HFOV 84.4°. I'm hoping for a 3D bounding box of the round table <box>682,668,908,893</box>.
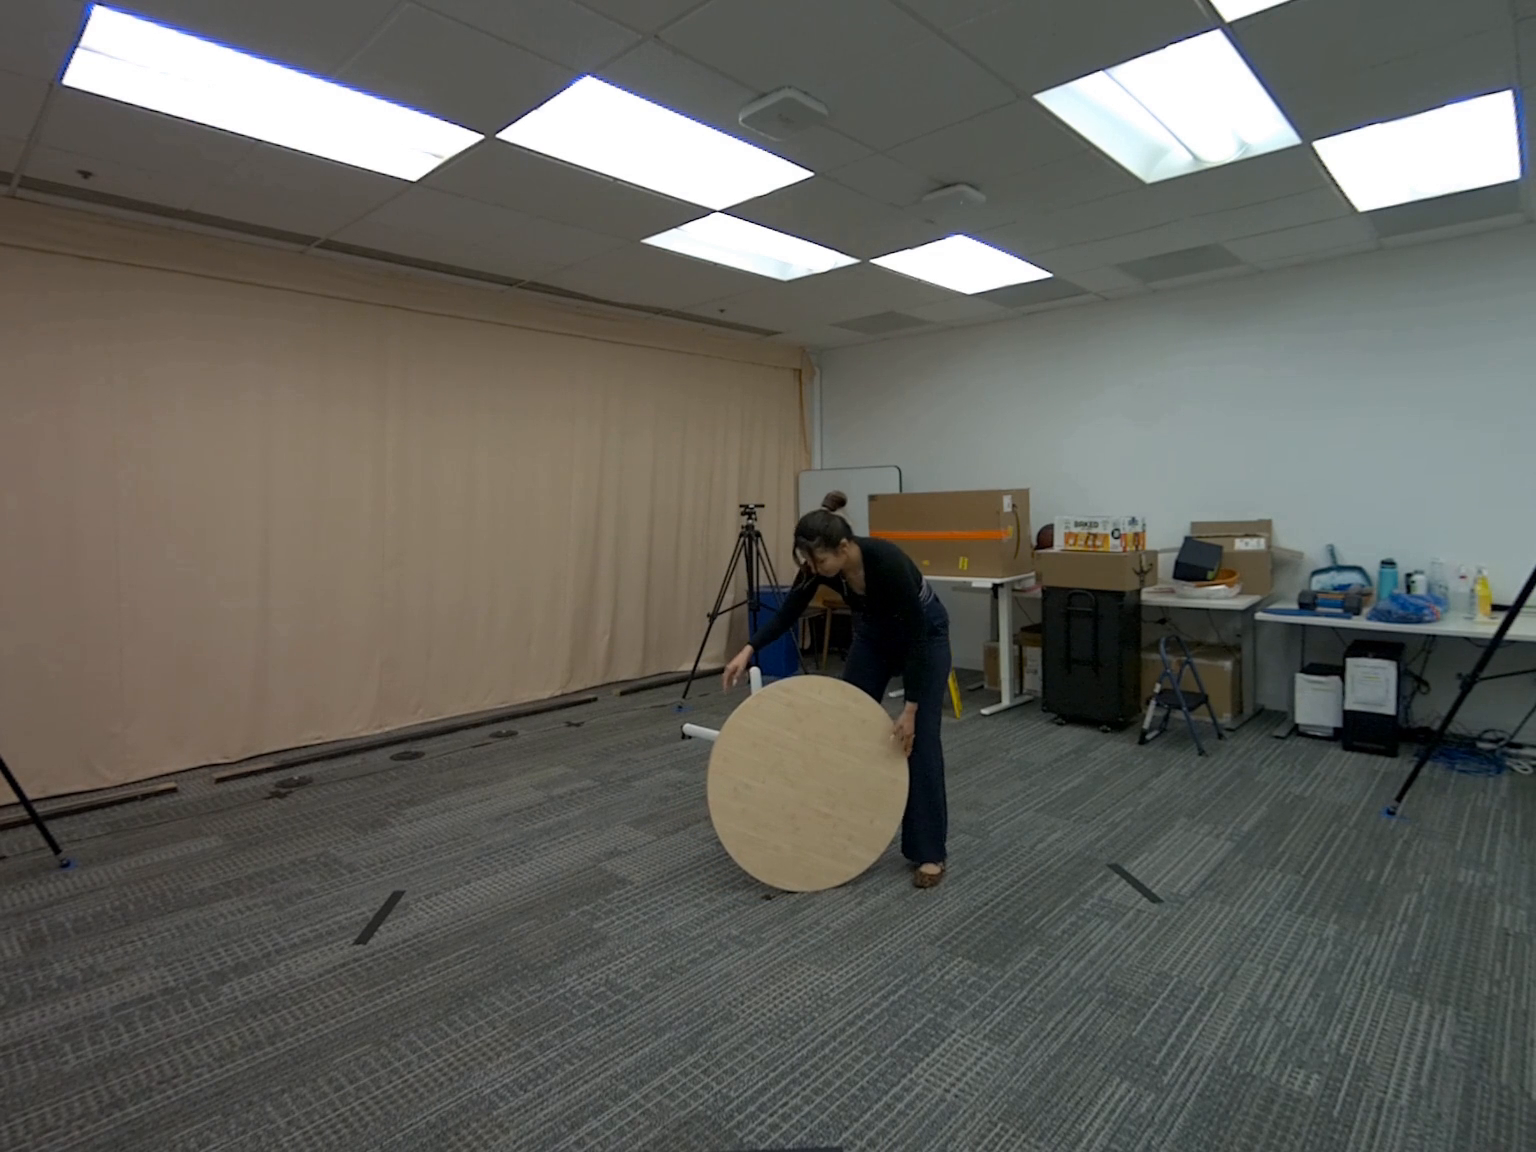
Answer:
[{"bbox_3d":[0.043,0.764,3.430,0.753,0.765,0.804,-2,-2,-15],"label":"round table"}]
